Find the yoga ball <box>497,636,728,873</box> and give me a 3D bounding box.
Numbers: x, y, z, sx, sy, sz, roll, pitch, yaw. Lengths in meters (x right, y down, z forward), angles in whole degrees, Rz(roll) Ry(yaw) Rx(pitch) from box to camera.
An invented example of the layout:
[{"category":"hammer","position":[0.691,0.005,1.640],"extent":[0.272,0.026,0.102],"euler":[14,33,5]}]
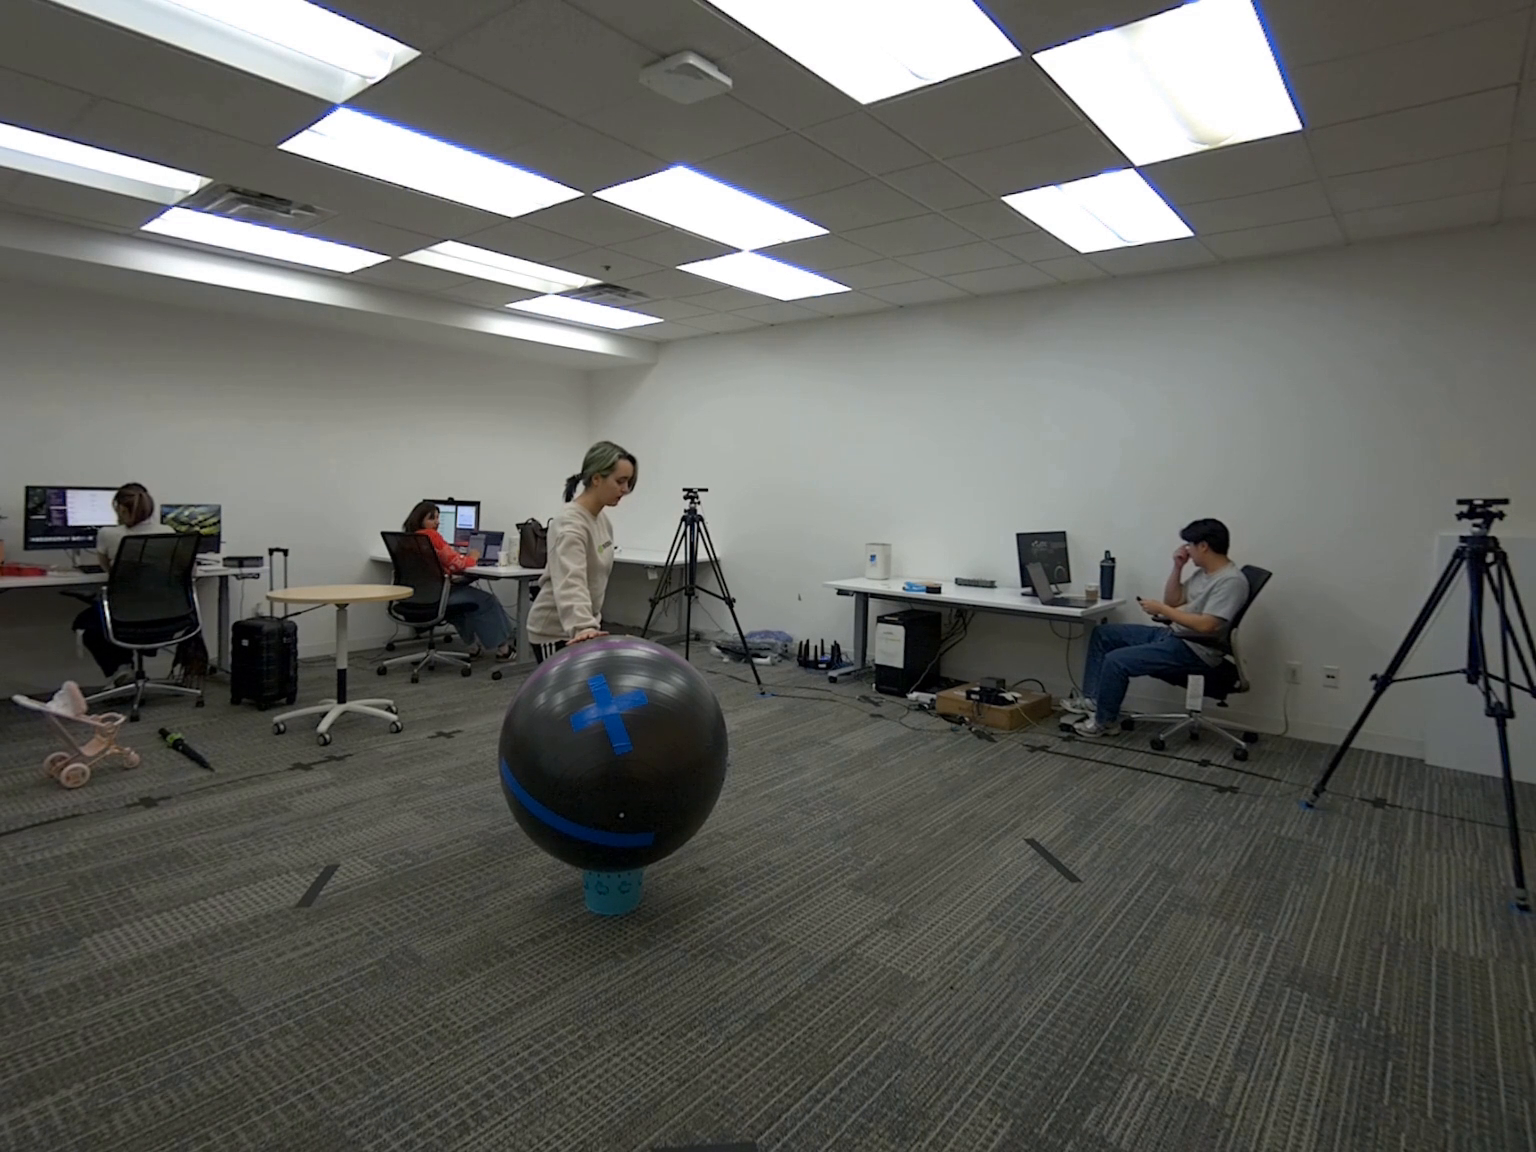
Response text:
[{"category":"yoga ball","position":[-0.518,0.581,2.836],"extent":[0.757,0.755,0.762],"euler":[1,4,-2]}]
